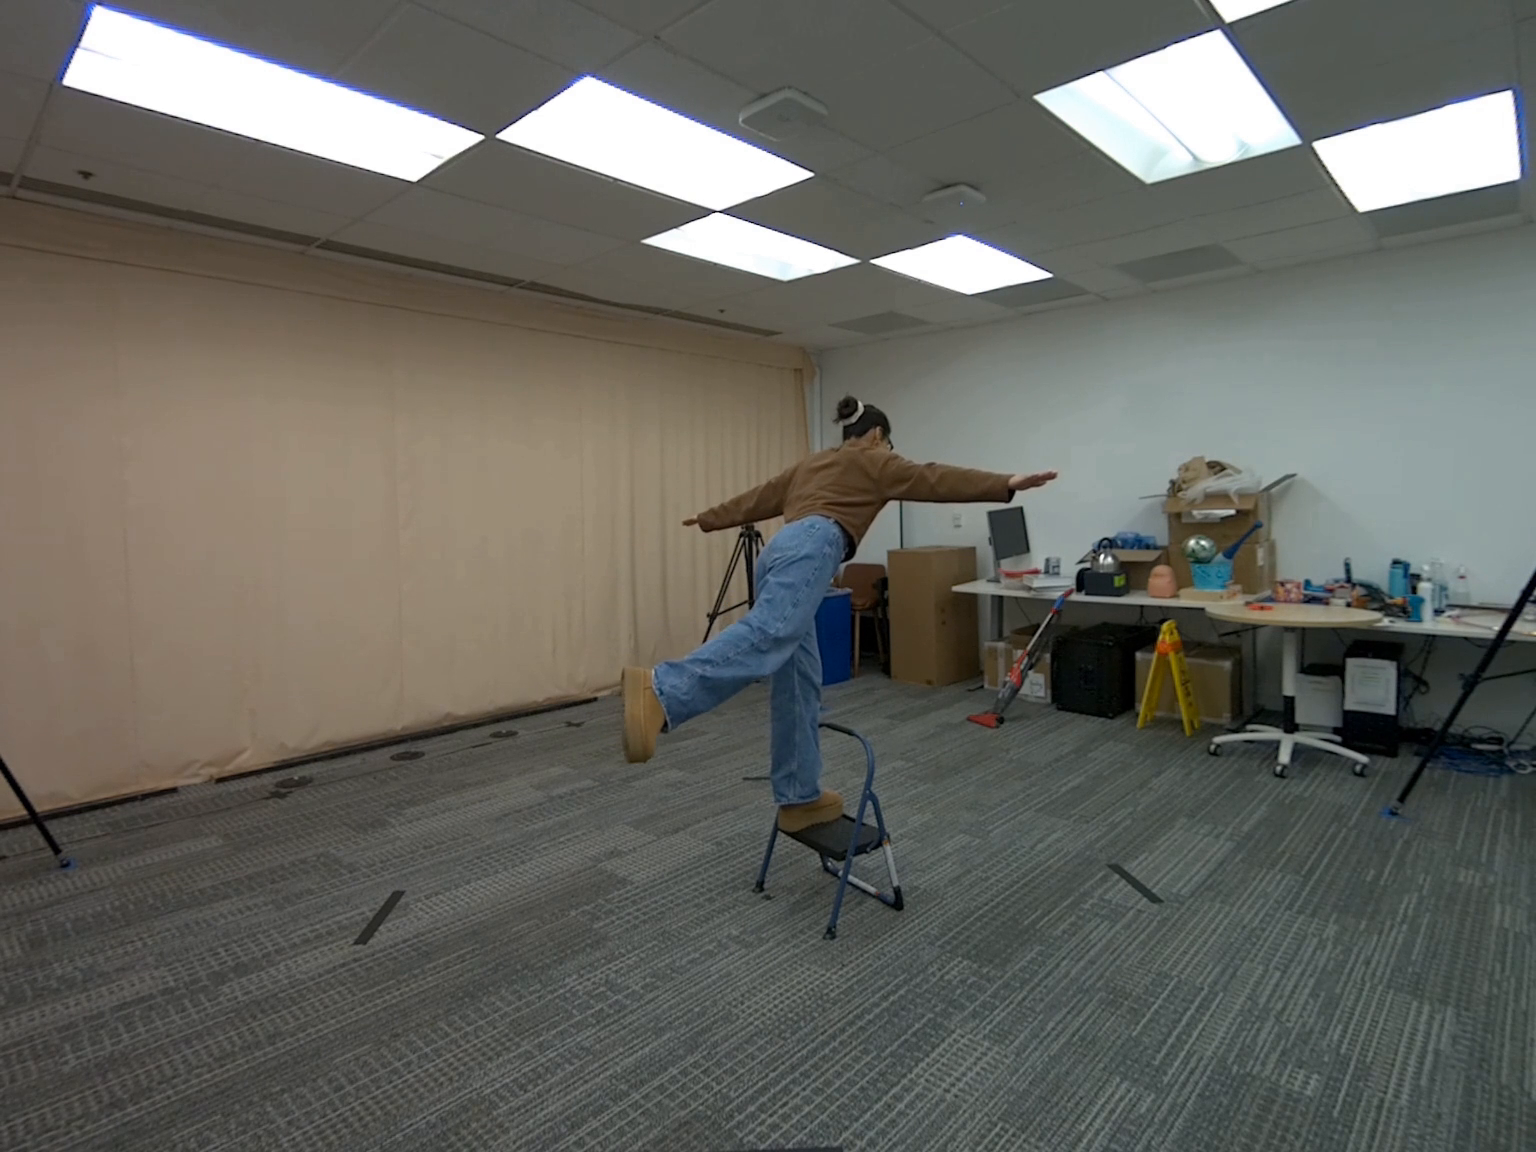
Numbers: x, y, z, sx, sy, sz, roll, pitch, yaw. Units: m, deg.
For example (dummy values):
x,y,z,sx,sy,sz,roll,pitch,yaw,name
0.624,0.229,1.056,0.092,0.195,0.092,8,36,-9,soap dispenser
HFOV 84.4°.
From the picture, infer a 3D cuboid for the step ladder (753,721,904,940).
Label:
x,y,z,sx,sy,sz,roll,pitch,yaw,name
0.209,0.839,2.938,0.339,0.605,0.444,-3,4,-36,step ladder
